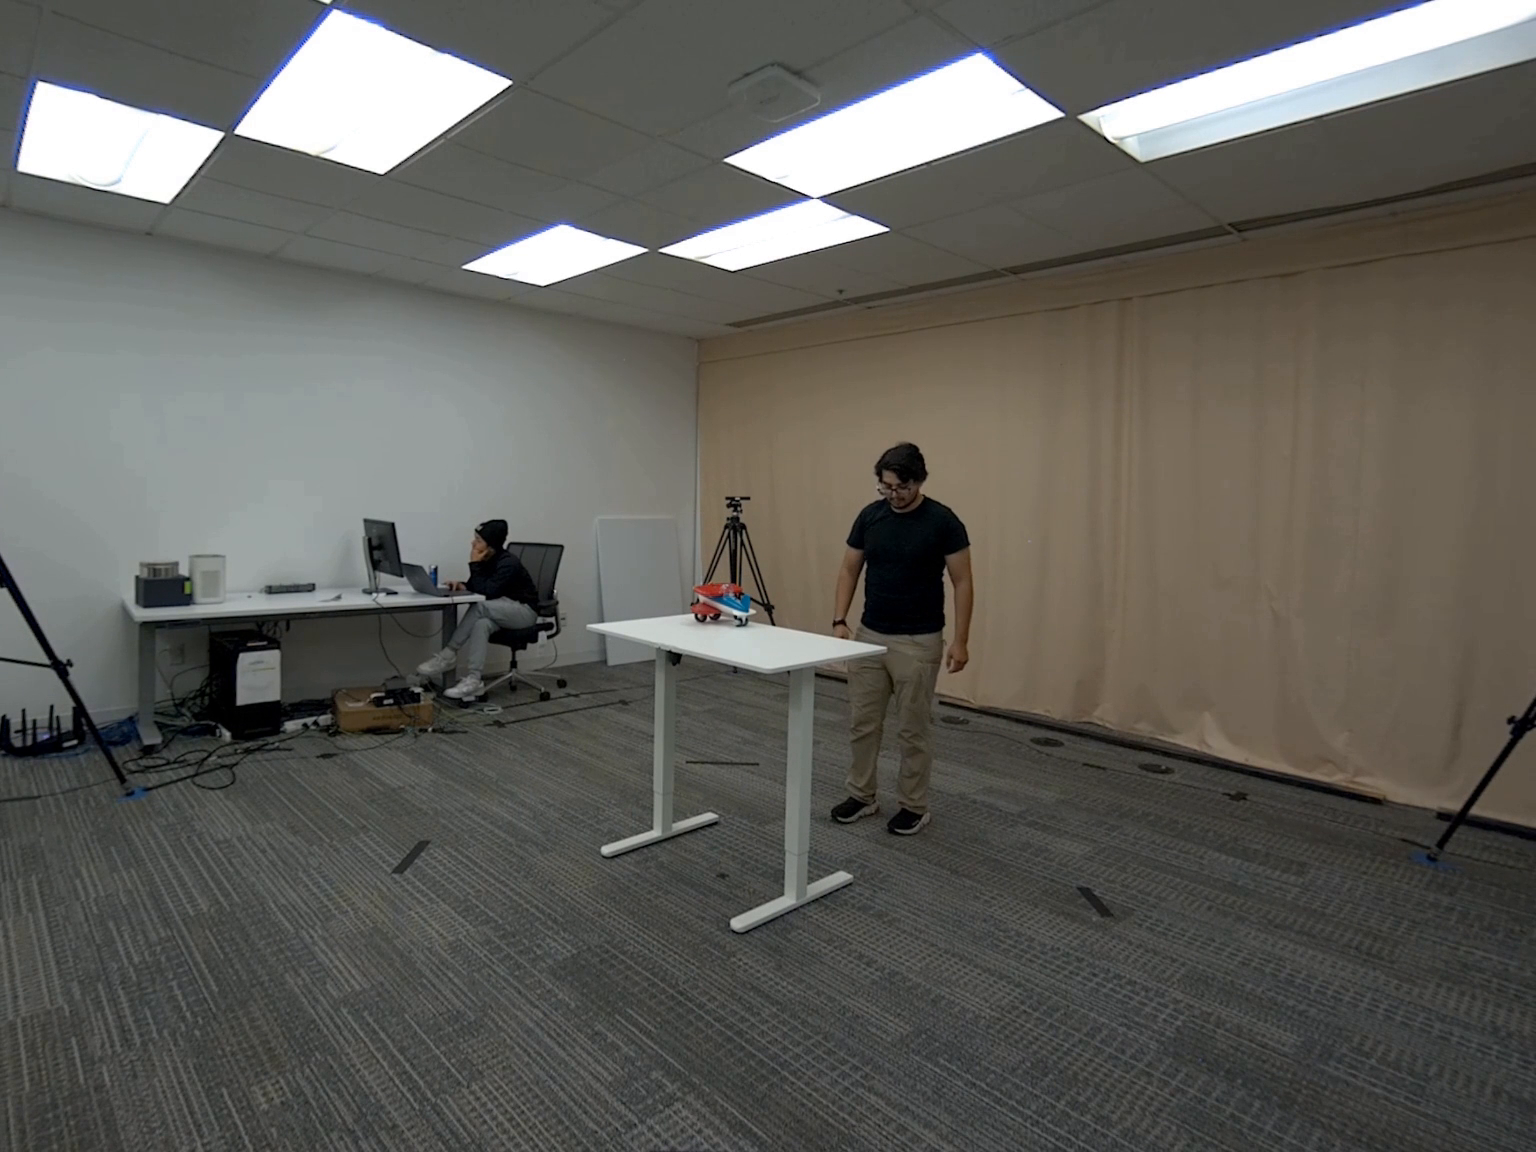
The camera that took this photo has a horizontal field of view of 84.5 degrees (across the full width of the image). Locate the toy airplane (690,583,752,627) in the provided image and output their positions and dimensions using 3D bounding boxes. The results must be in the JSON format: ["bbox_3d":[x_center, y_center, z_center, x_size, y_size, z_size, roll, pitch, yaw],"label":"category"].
[{"bbox_3d":[-0.178,0.114,3.412,0.261,0.156,0.250,1,6,10],"label":"toy airplane"}]
